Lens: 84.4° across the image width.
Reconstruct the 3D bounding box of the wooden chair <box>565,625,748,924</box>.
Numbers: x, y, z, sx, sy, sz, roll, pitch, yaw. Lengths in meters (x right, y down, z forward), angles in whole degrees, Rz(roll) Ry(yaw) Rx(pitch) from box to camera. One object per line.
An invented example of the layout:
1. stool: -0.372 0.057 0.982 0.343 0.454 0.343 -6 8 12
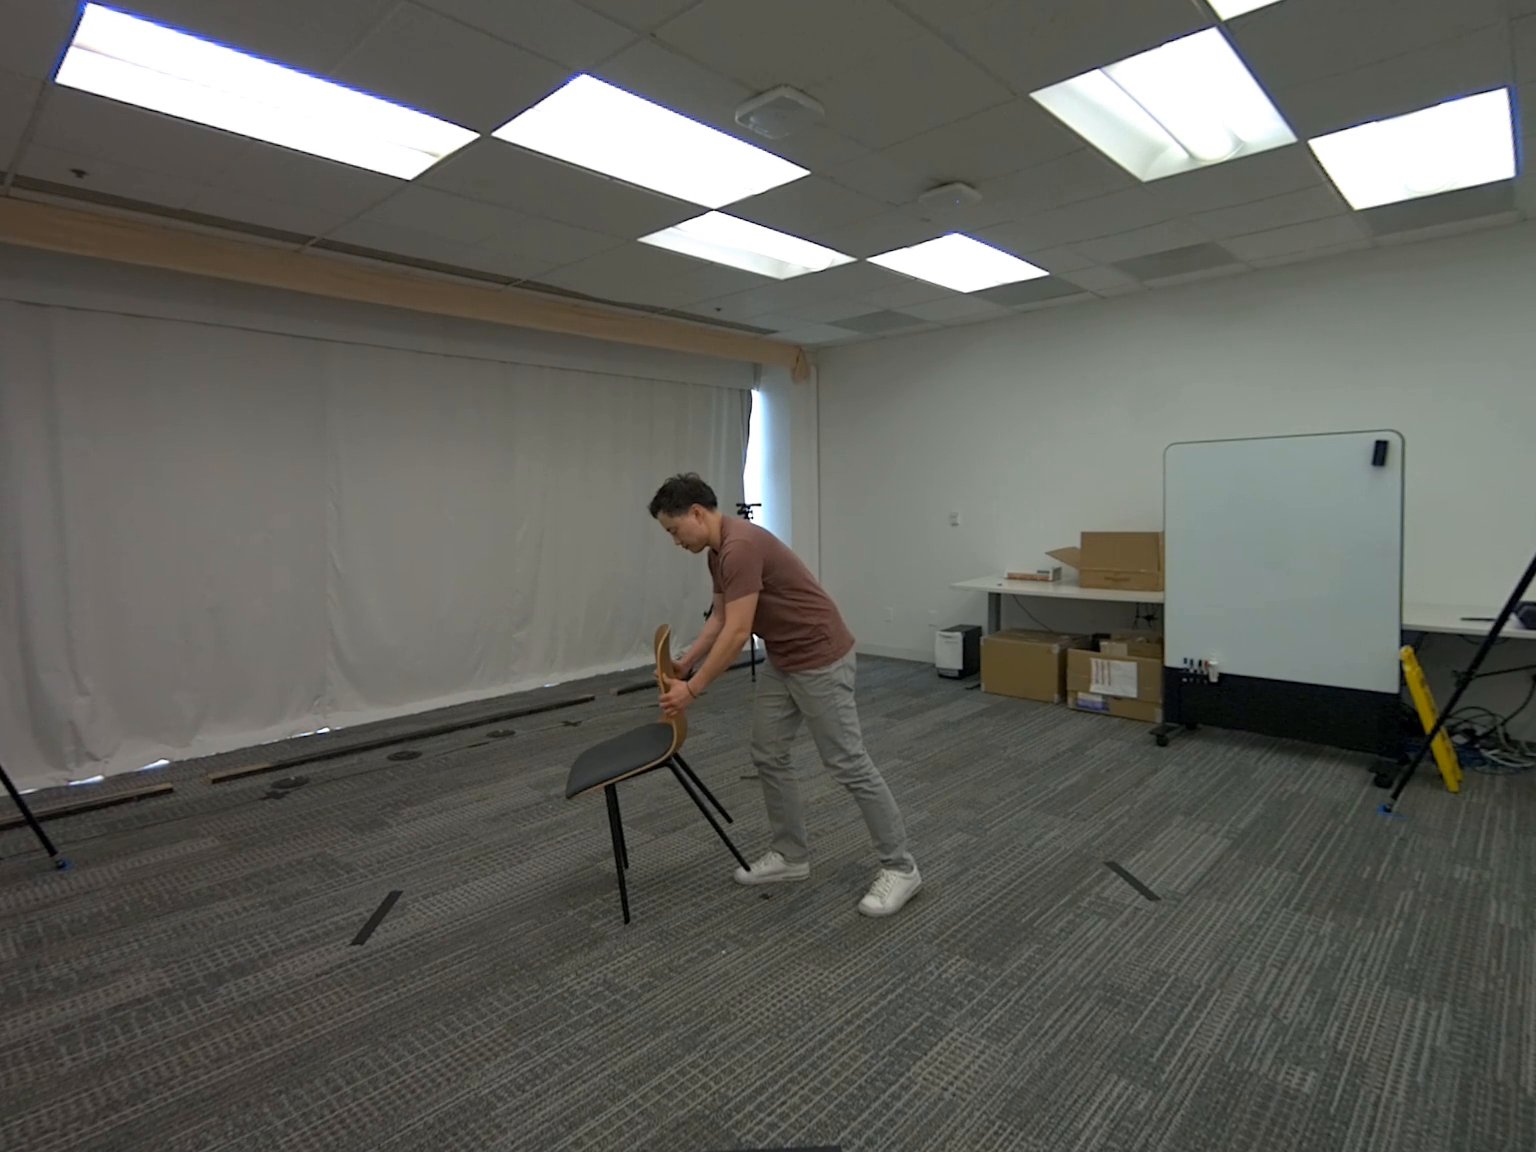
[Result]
1. wooden chair: -0.457 0.674 3.007 0.520 0.874 0.482 -17 5 -7
